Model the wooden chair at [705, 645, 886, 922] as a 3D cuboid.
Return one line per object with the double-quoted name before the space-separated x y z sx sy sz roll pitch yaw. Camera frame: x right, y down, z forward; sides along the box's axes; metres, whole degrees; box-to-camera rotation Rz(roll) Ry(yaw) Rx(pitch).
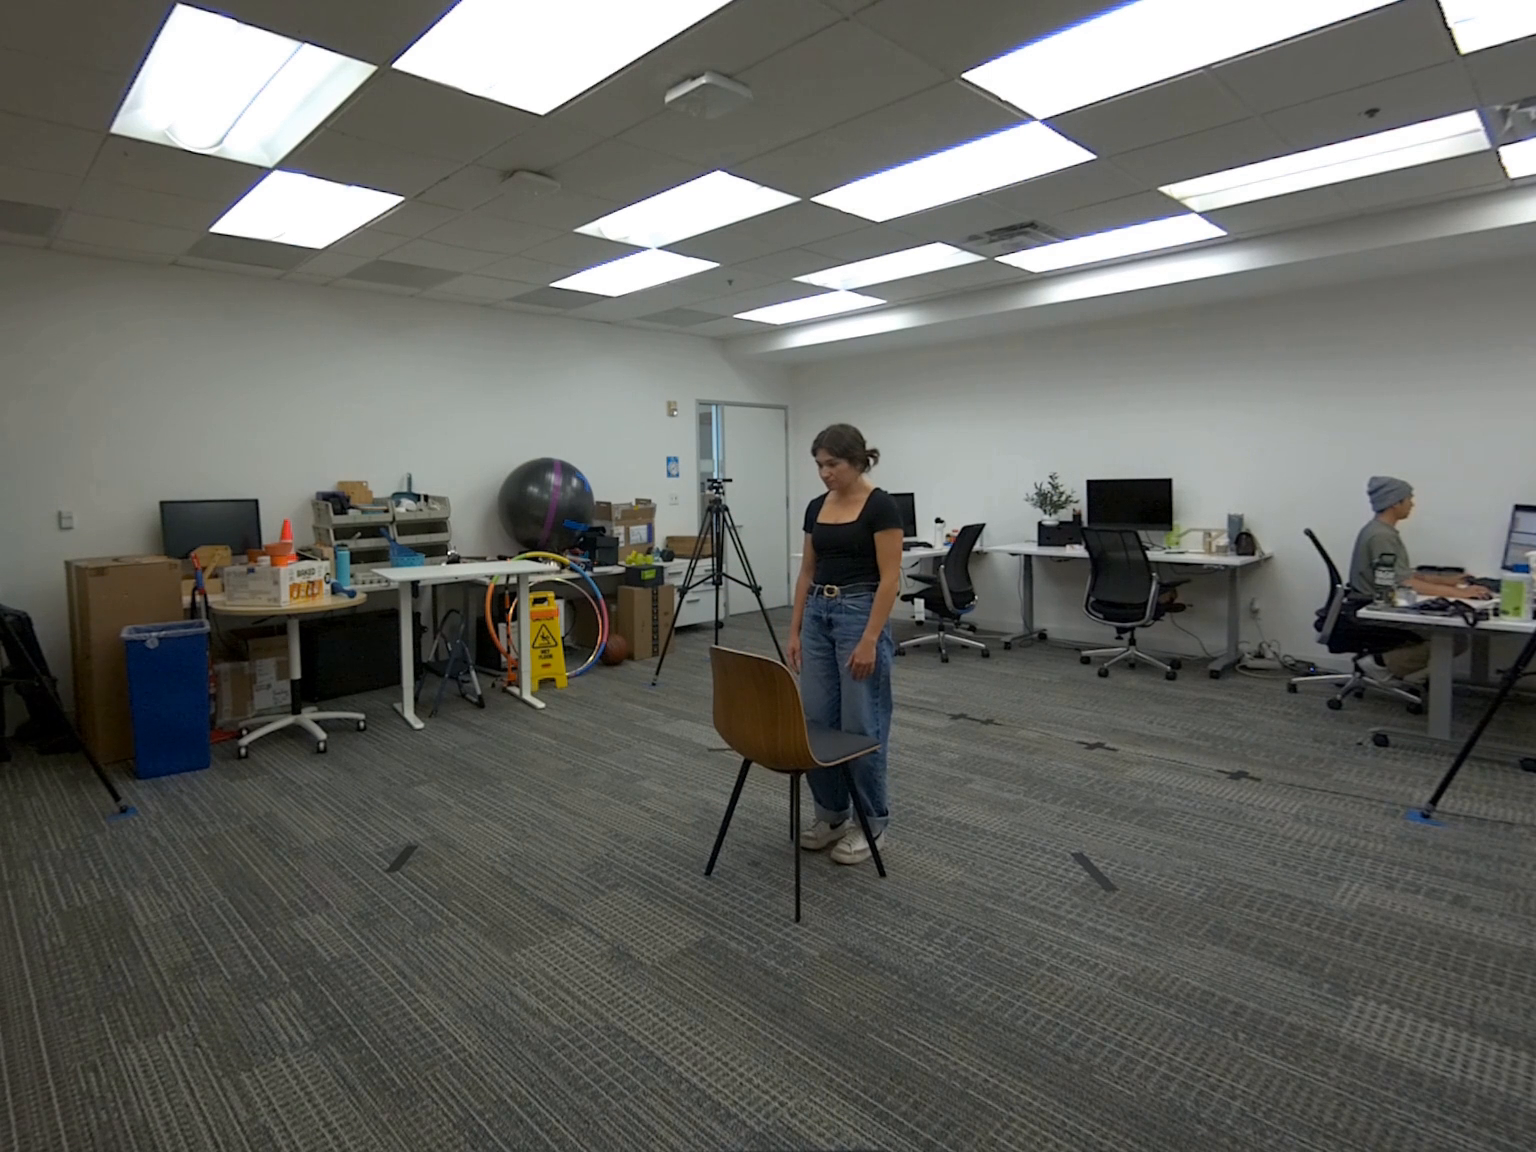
"wooden chair" 0.093 0.634 2.968 0.511 0.872 0.493 -10 10 -43
